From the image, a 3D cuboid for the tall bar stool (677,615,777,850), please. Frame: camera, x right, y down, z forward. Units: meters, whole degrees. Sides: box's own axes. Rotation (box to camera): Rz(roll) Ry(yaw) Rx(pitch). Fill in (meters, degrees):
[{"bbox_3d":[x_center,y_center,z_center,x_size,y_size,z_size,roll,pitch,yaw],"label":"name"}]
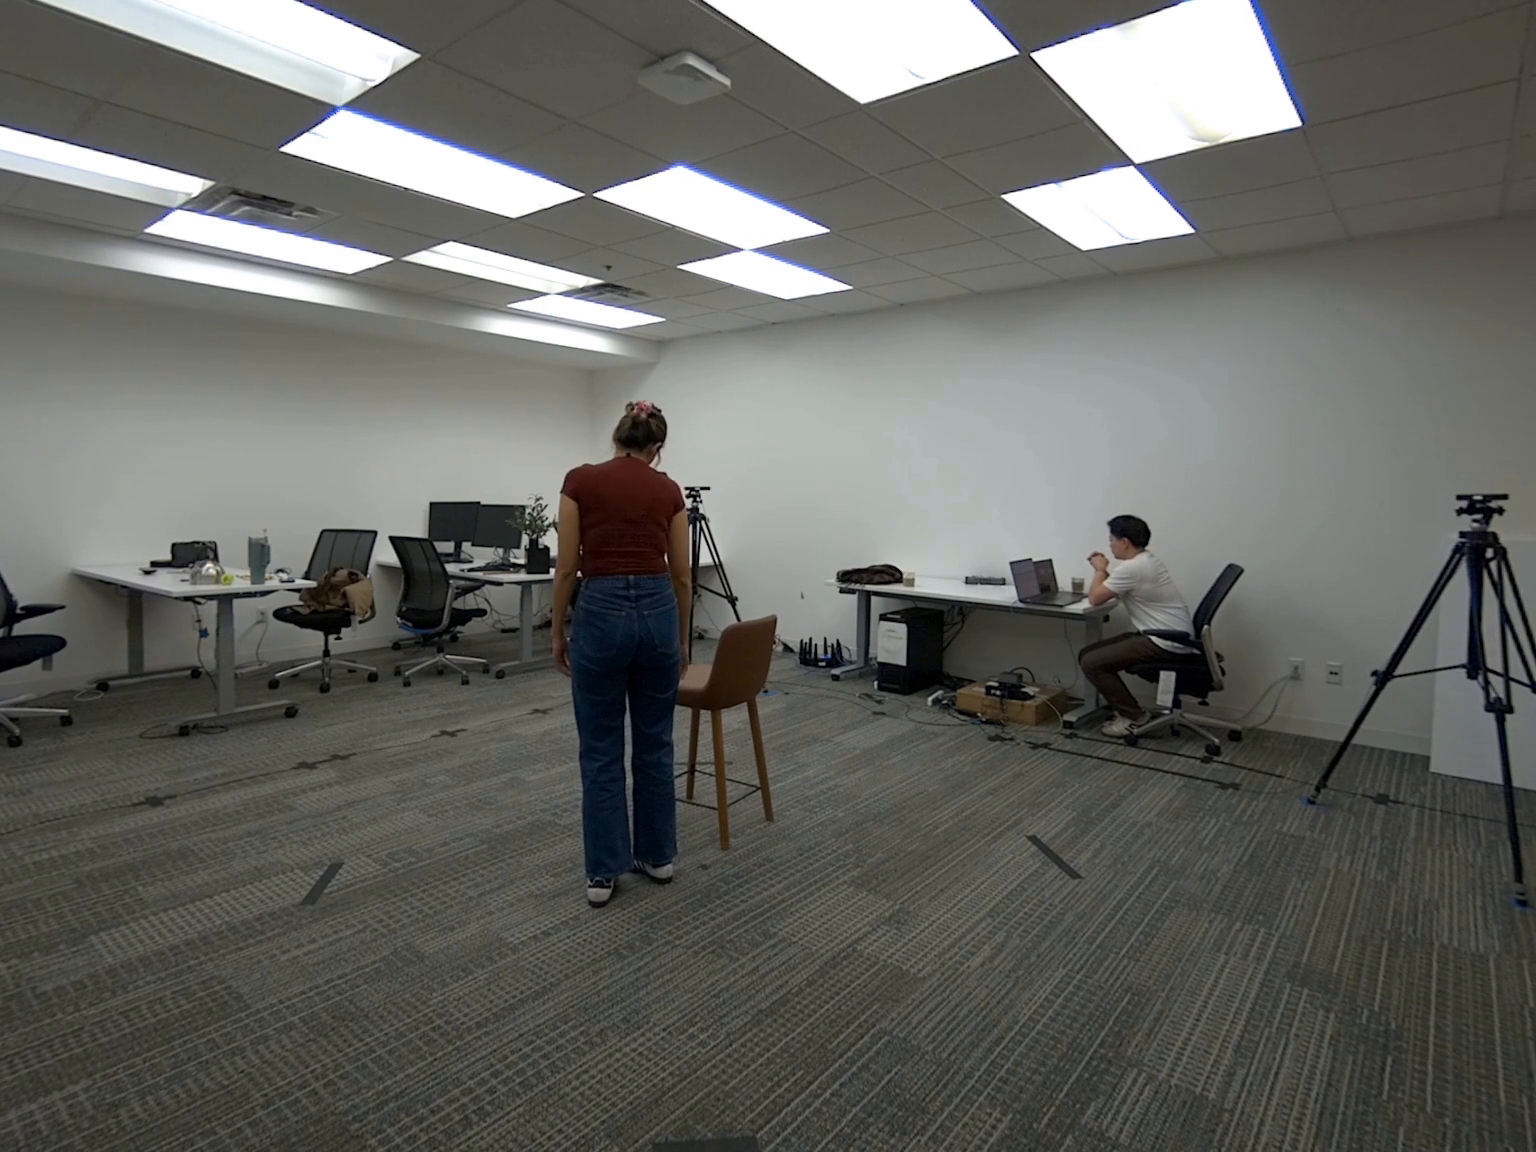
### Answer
[{"bbox_3d":[-0.259,0.593,3.518,0.482,0.887,0.444,4,4,31],"label":"tall bar stool"}]
